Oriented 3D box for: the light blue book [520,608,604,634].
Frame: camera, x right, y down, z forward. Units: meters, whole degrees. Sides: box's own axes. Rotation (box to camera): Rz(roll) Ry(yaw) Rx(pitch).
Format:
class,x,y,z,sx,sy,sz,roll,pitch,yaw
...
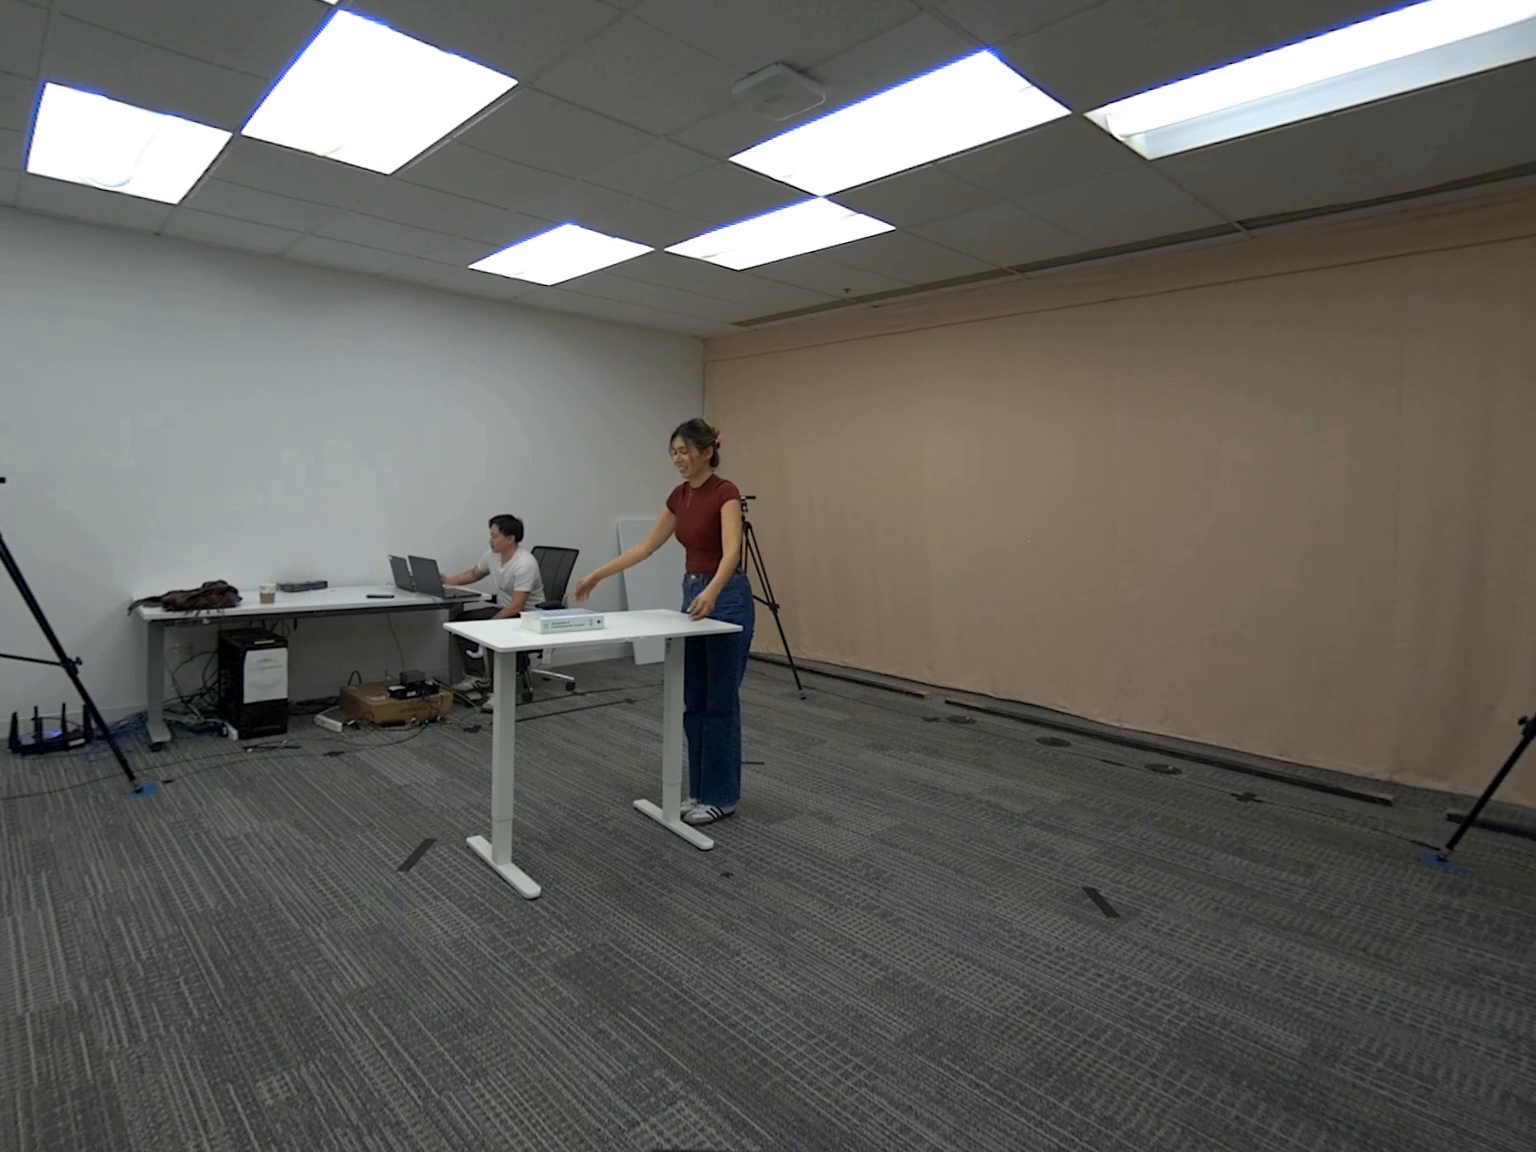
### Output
class,x,y,z,sx,sy,sz,roll,pitch,yaw
light blue book,-0.800,0.171,3.198,0.255,0.059,0.196,-3,7,-39
